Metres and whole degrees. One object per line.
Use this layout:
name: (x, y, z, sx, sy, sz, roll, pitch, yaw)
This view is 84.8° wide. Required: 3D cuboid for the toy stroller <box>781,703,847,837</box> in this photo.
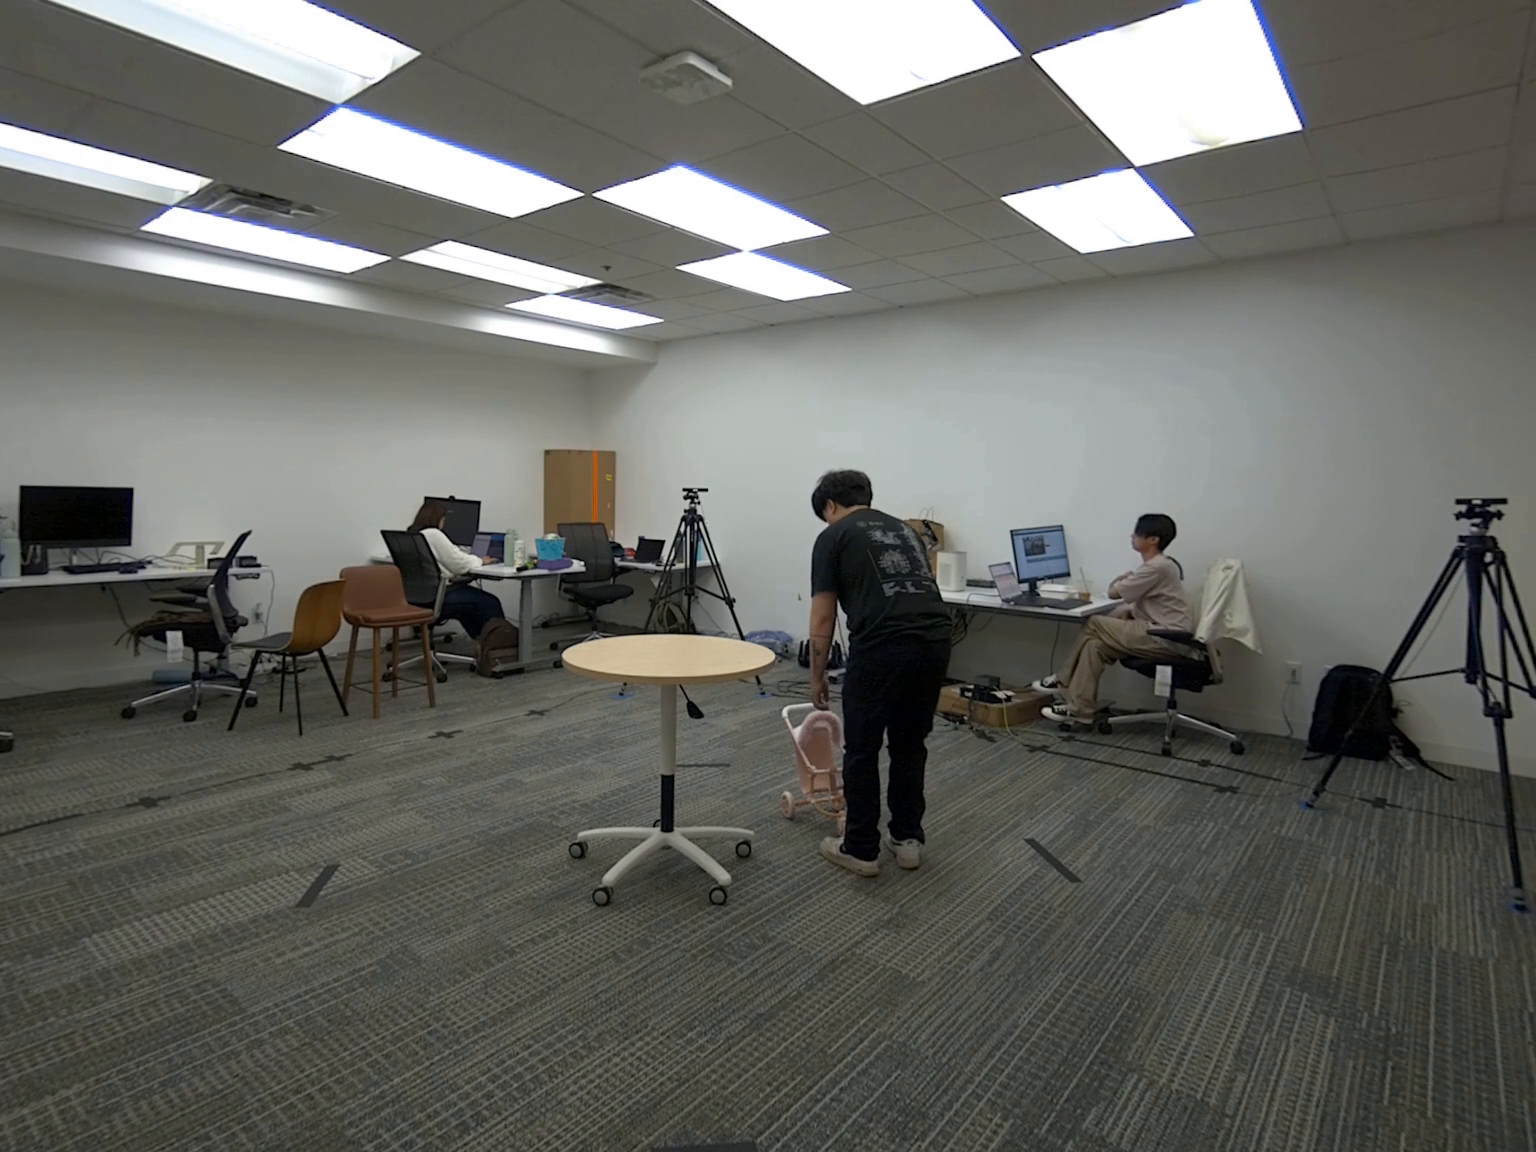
toy stroller: (0.217, 0.807, 3.596, 0.276, 0.541, 0.344, 0, -11, -19)
